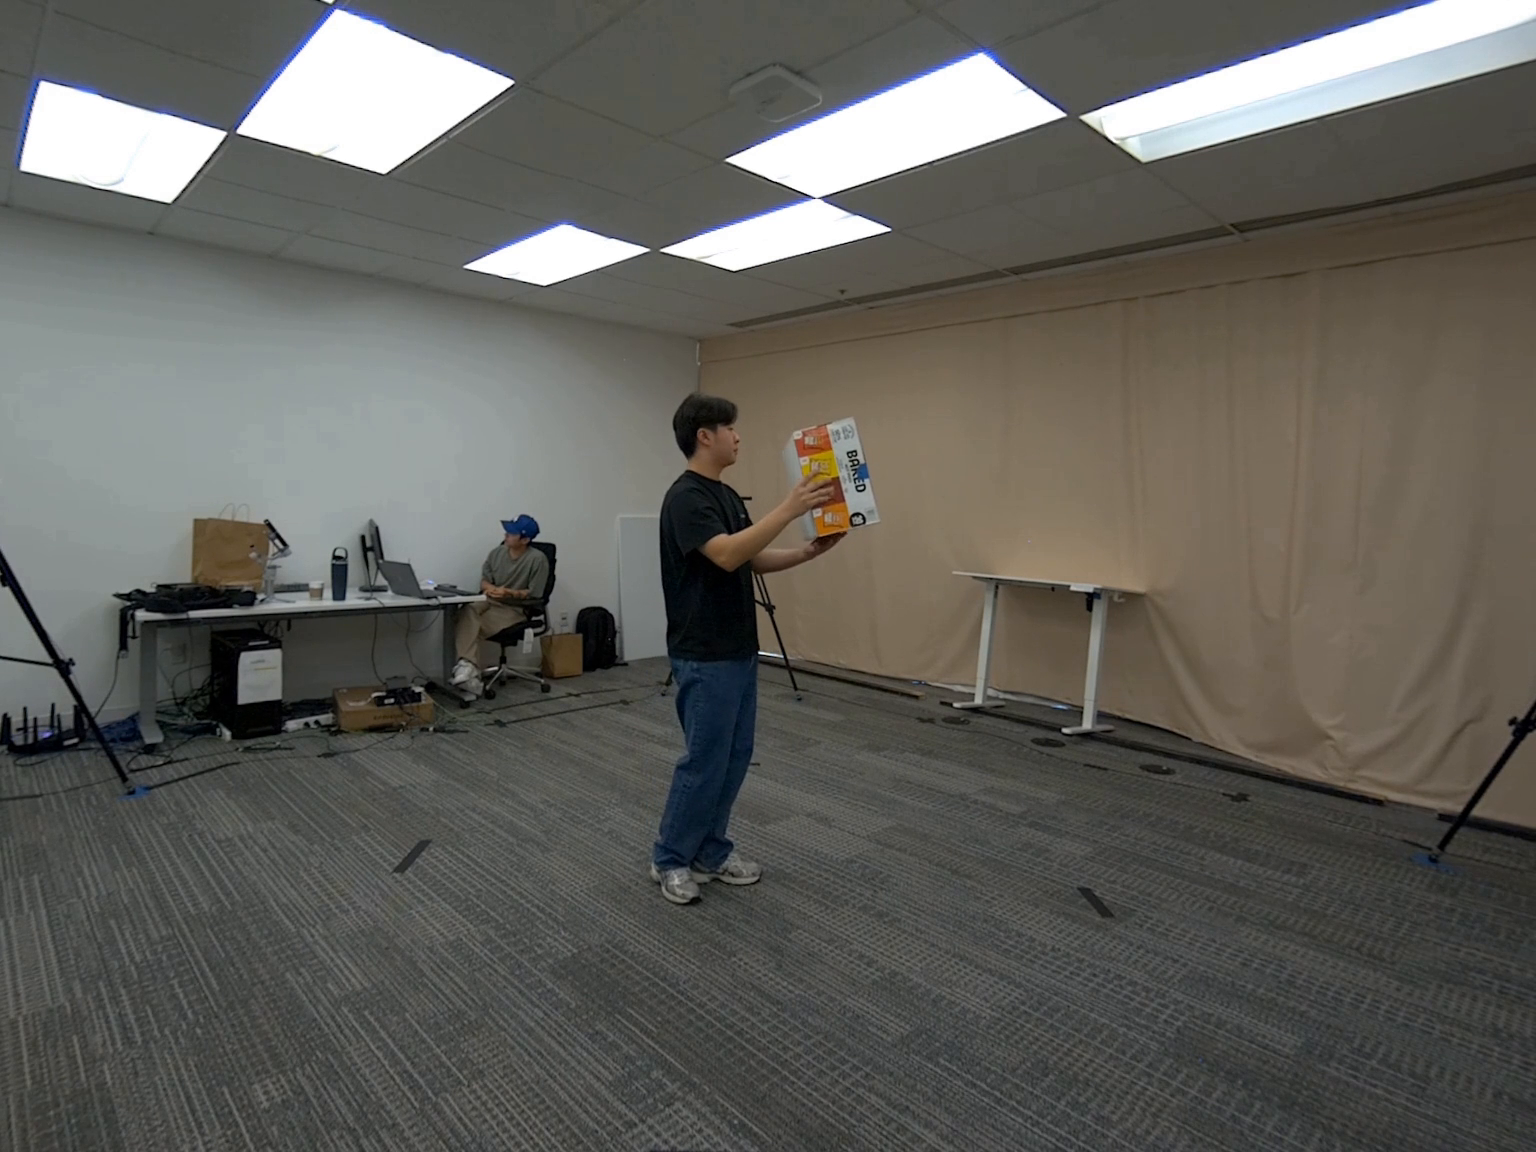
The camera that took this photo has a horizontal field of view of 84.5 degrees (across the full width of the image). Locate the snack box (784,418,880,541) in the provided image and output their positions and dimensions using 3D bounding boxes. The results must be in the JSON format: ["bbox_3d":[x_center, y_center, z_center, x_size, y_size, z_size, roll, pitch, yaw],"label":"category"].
[{"bbox_3d":[0.200,-0.309,2.824,0.205,0.341,0.405,-13,-1,-3],"label":"snack box"}]
